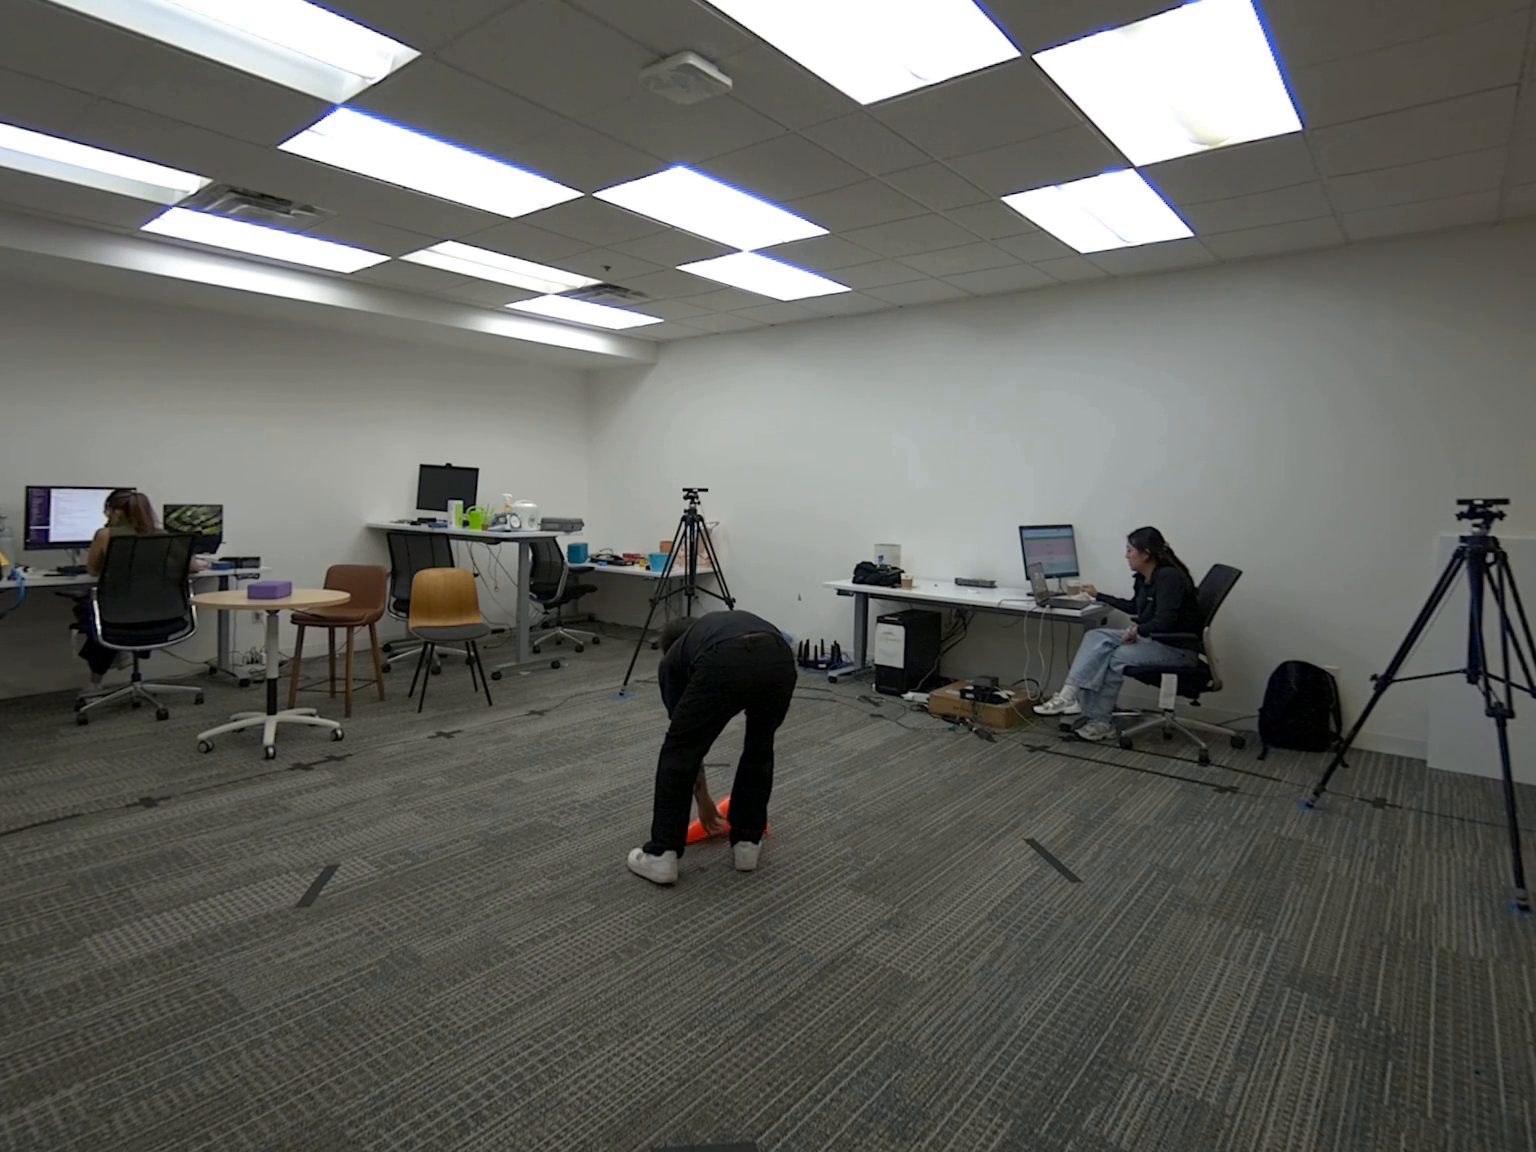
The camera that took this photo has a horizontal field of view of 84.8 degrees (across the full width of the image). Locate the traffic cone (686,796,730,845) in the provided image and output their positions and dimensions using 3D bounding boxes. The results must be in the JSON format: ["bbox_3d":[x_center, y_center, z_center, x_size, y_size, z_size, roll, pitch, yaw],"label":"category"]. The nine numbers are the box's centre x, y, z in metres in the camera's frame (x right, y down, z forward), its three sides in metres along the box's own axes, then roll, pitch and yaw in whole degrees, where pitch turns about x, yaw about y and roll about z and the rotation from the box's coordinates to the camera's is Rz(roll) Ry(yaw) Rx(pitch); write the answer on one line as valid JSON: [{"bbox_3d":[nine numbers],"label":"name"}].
[{"bbox_3d":[-0.227,0.980,3.415,0.375,0.201,0.211,-16,12,-34],"label":"traffic cone"}]
